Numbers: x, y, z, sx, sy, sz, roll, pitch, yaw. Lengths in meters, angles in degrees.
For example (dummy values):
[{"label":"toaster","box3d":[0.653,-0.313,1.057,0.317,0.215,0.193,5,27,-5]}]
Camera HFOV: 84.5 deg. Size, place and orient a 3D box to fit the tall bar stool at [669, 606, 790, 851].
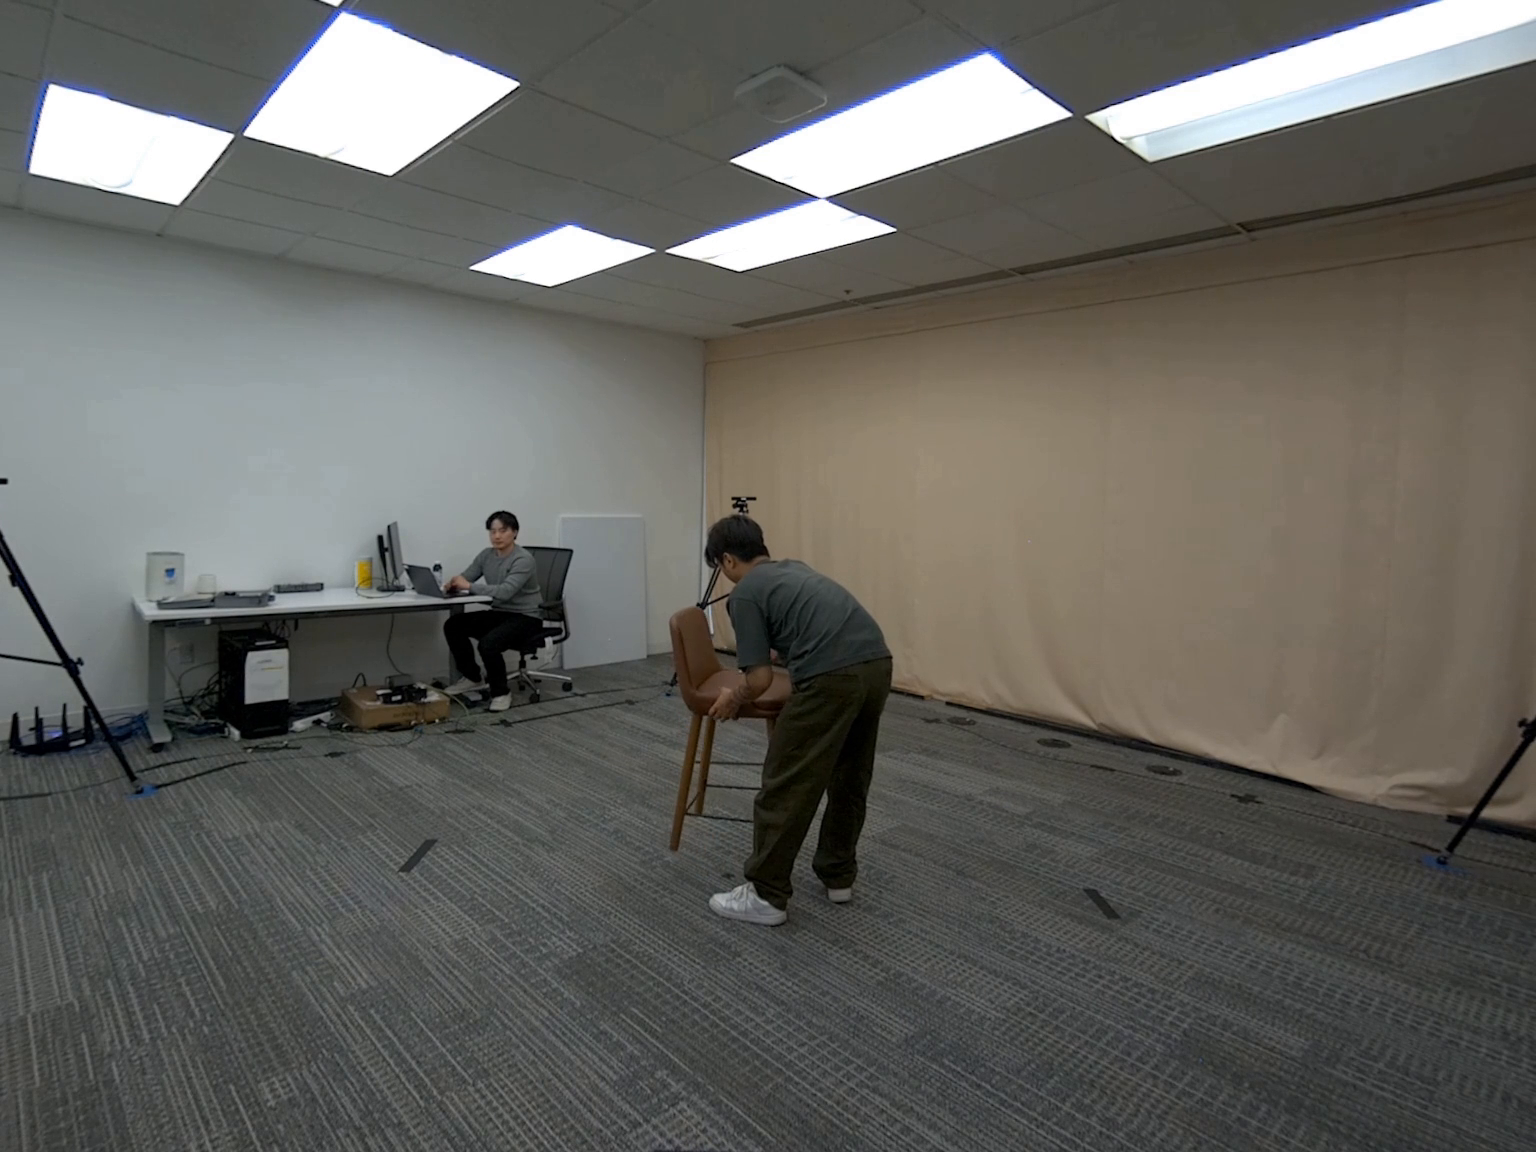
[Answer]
[{"label":"tall bar stool","box3d":[-0.119,0.588,3.238,0.472,0.887,0.453,0,4,13]}]
